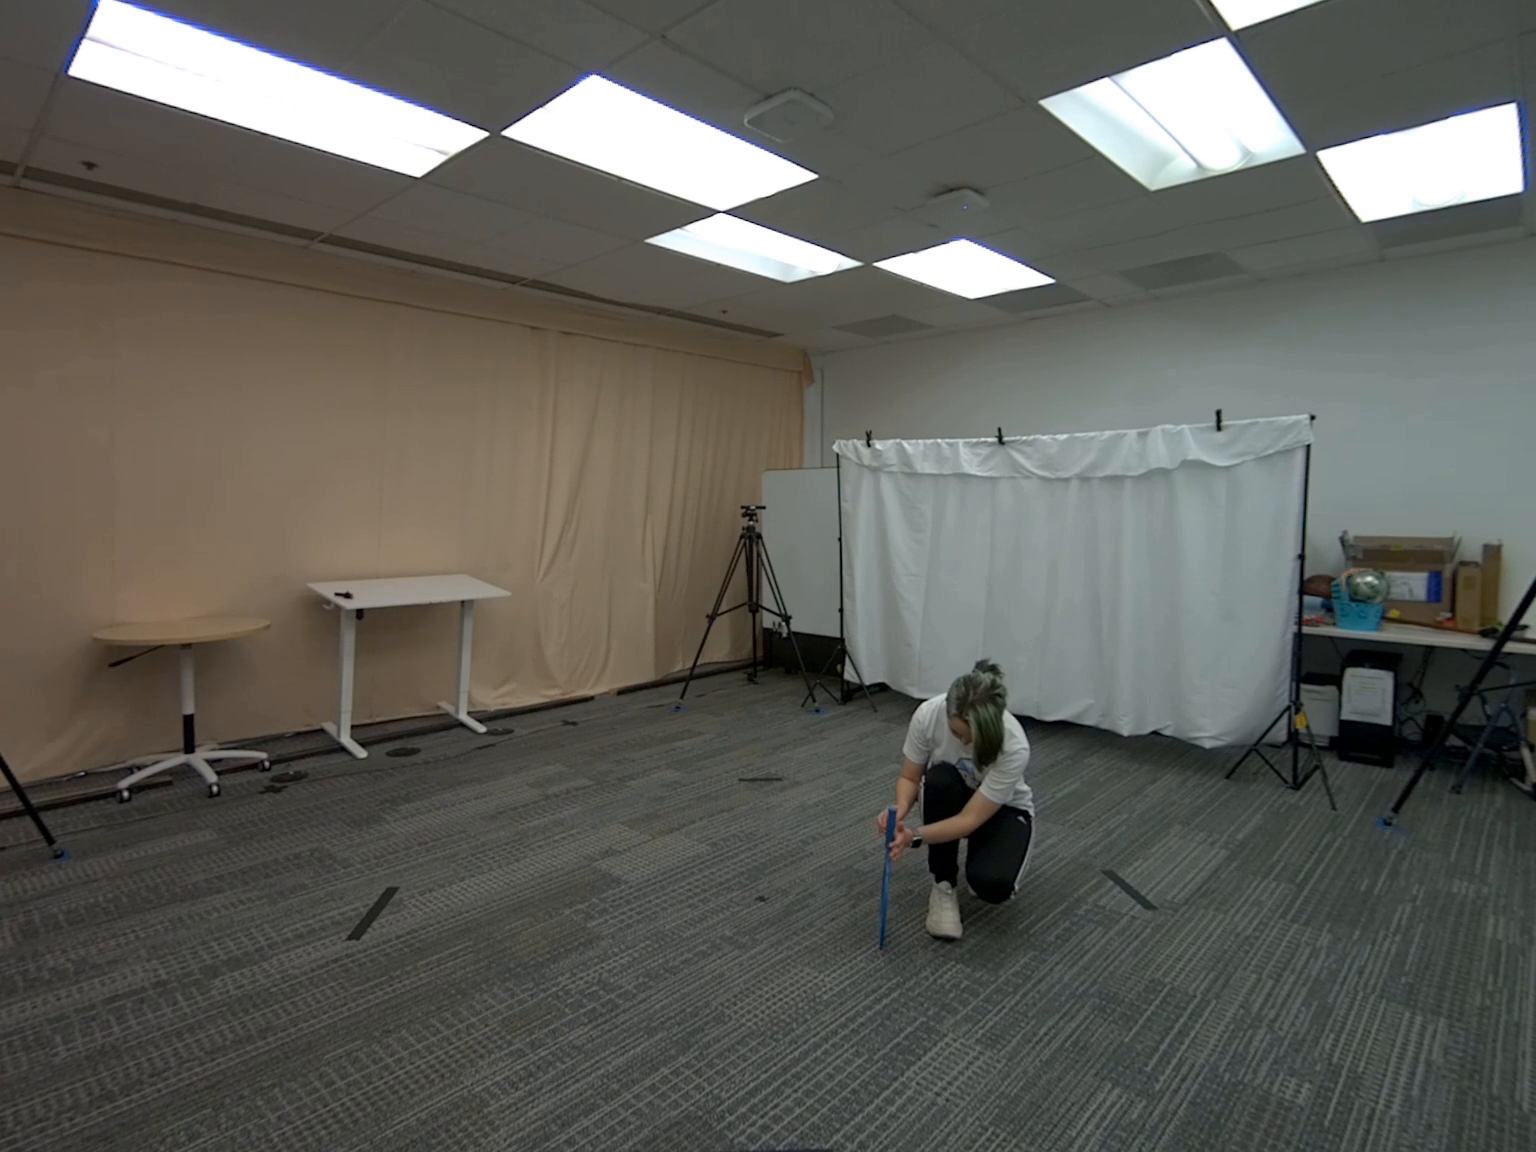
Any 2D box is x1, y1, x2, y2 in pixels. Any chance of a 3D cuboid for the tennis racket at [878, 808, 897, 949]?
[{"bbox_3d":[0.385,0.958,2.660,0.032,0.432,0.212,3,2,6],"label":"tennis racket"}]
